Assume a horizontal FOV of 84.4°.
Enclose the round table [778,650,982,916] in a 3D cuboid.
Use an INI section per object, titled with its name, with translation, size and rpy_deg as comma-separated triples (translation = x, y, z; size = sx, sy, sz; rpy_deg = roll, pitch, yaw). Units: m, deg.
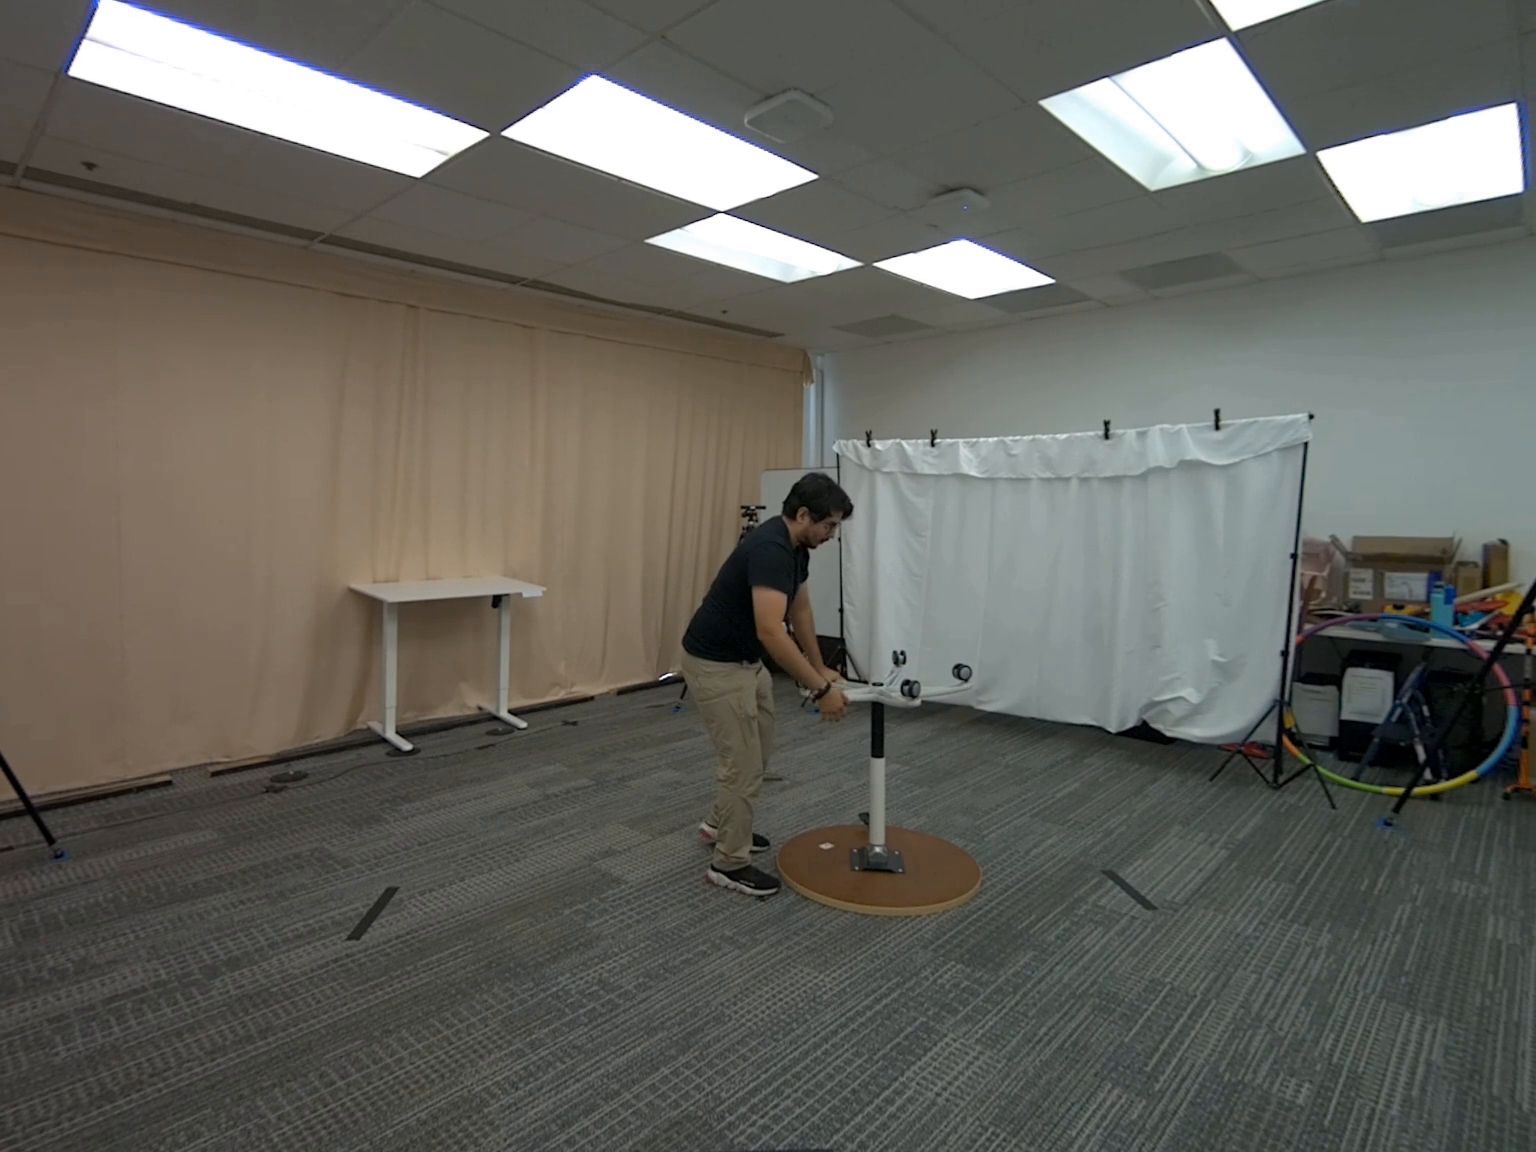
[round table]
translation = 0.432, 0.727, 3.206
size = 0.784, 0.784, 0.788
rpy_deg = 0, 4, -2
